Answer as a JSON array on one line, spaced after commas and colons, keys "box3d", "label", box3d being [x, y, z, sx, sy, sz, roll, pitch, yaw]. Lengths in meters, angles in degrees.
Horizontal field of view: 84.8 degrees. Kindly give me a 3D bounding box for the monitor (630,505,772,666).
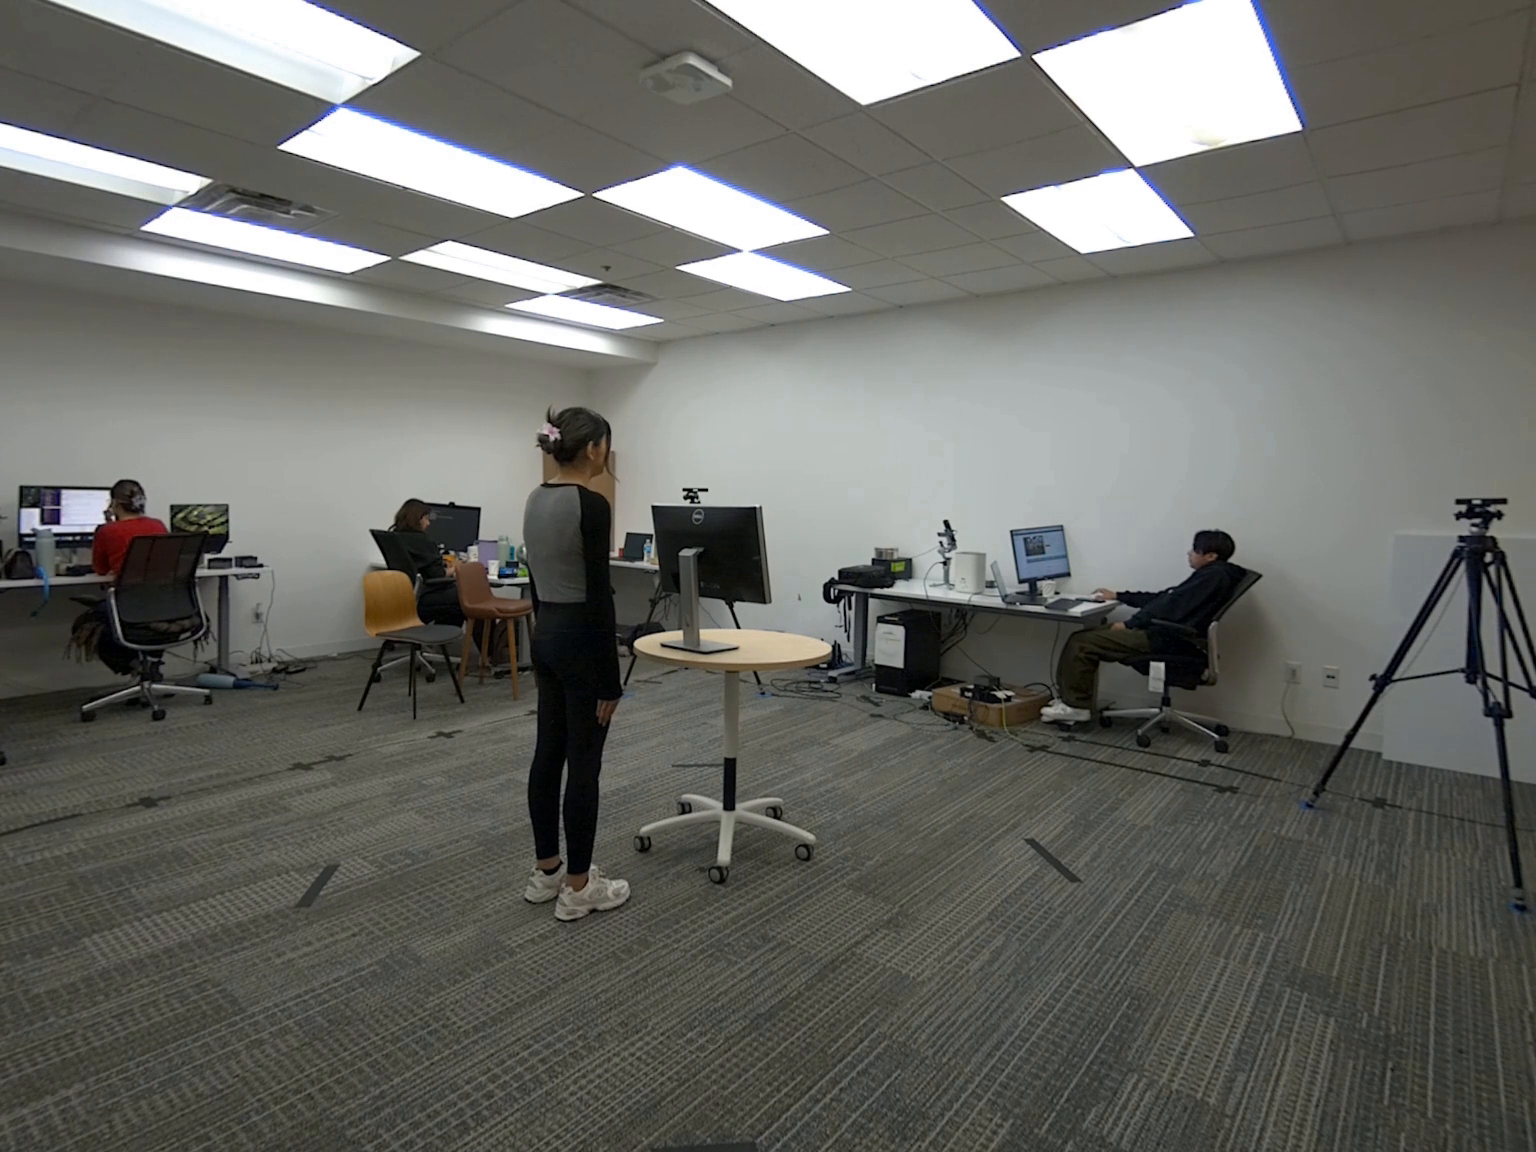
[{"box3d": [-0.263, 0.003, 3.207, 0.557, 0.522, 0.181, 4, 2, 40], "label": "monitor"}]
